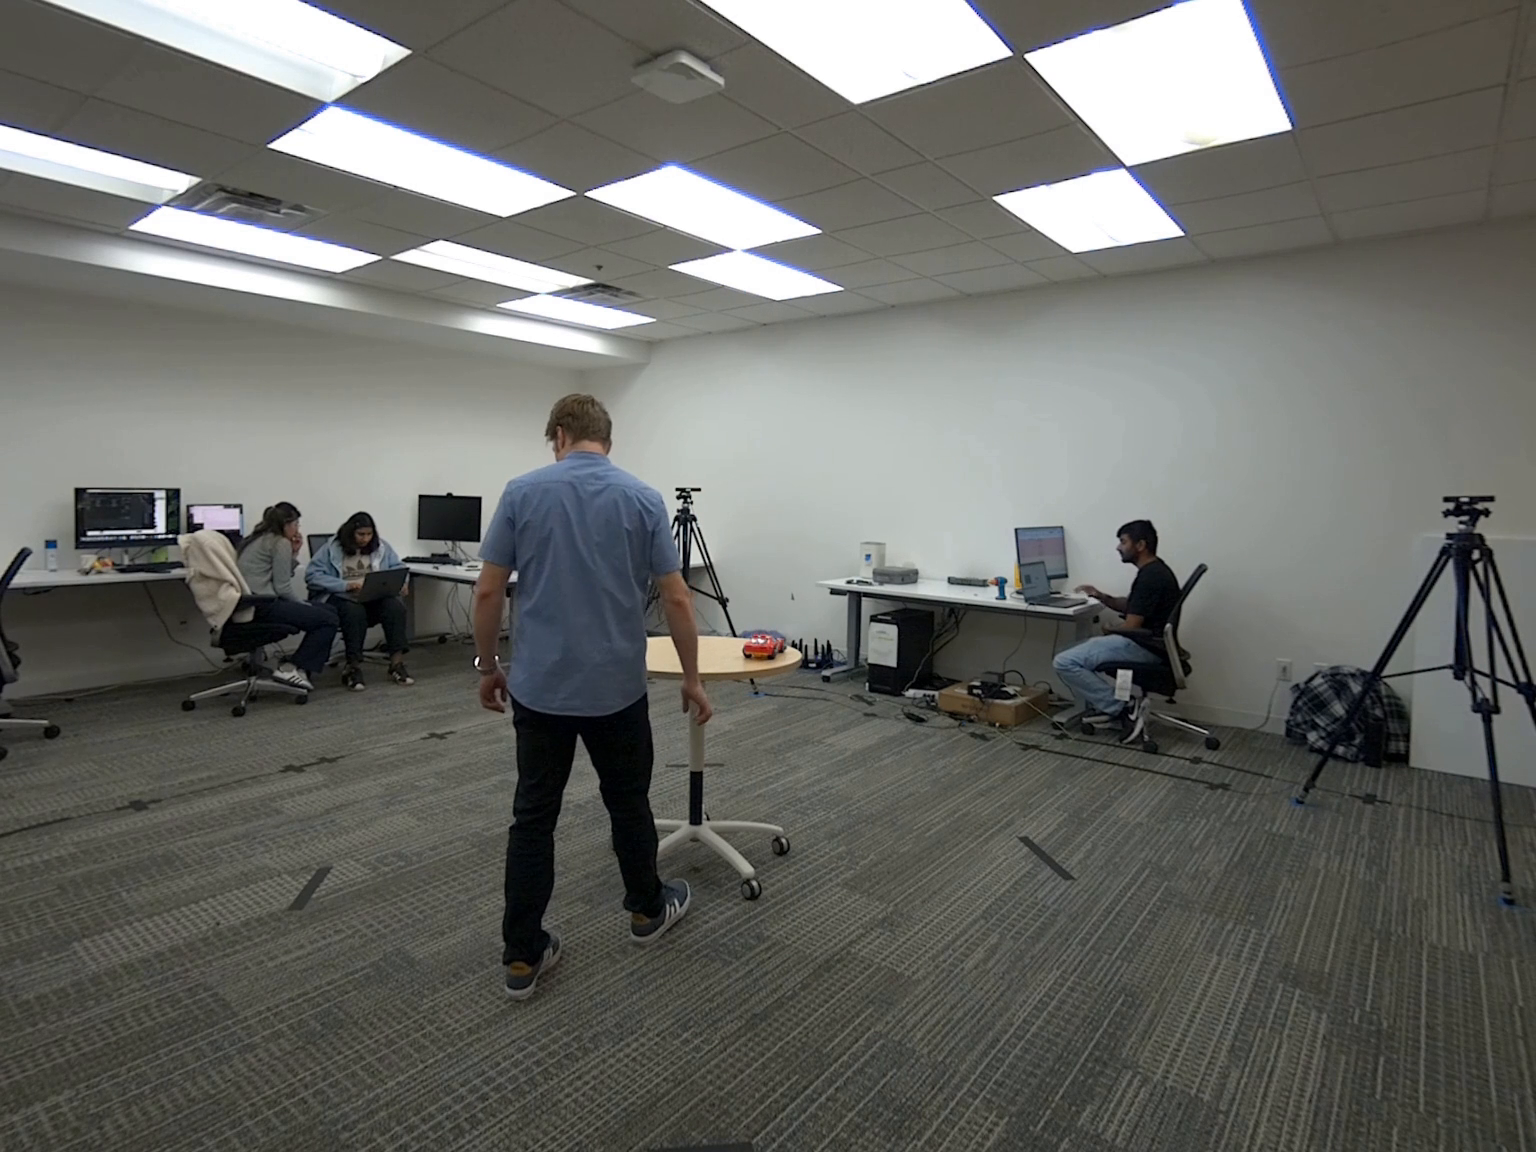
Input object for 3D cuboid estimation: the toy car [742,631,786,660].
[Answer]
[{"bbox_3d":[-0.029,0.257,3.097,0.132,0.084,0.248,2,-6,15],"label":"toy car"}]
